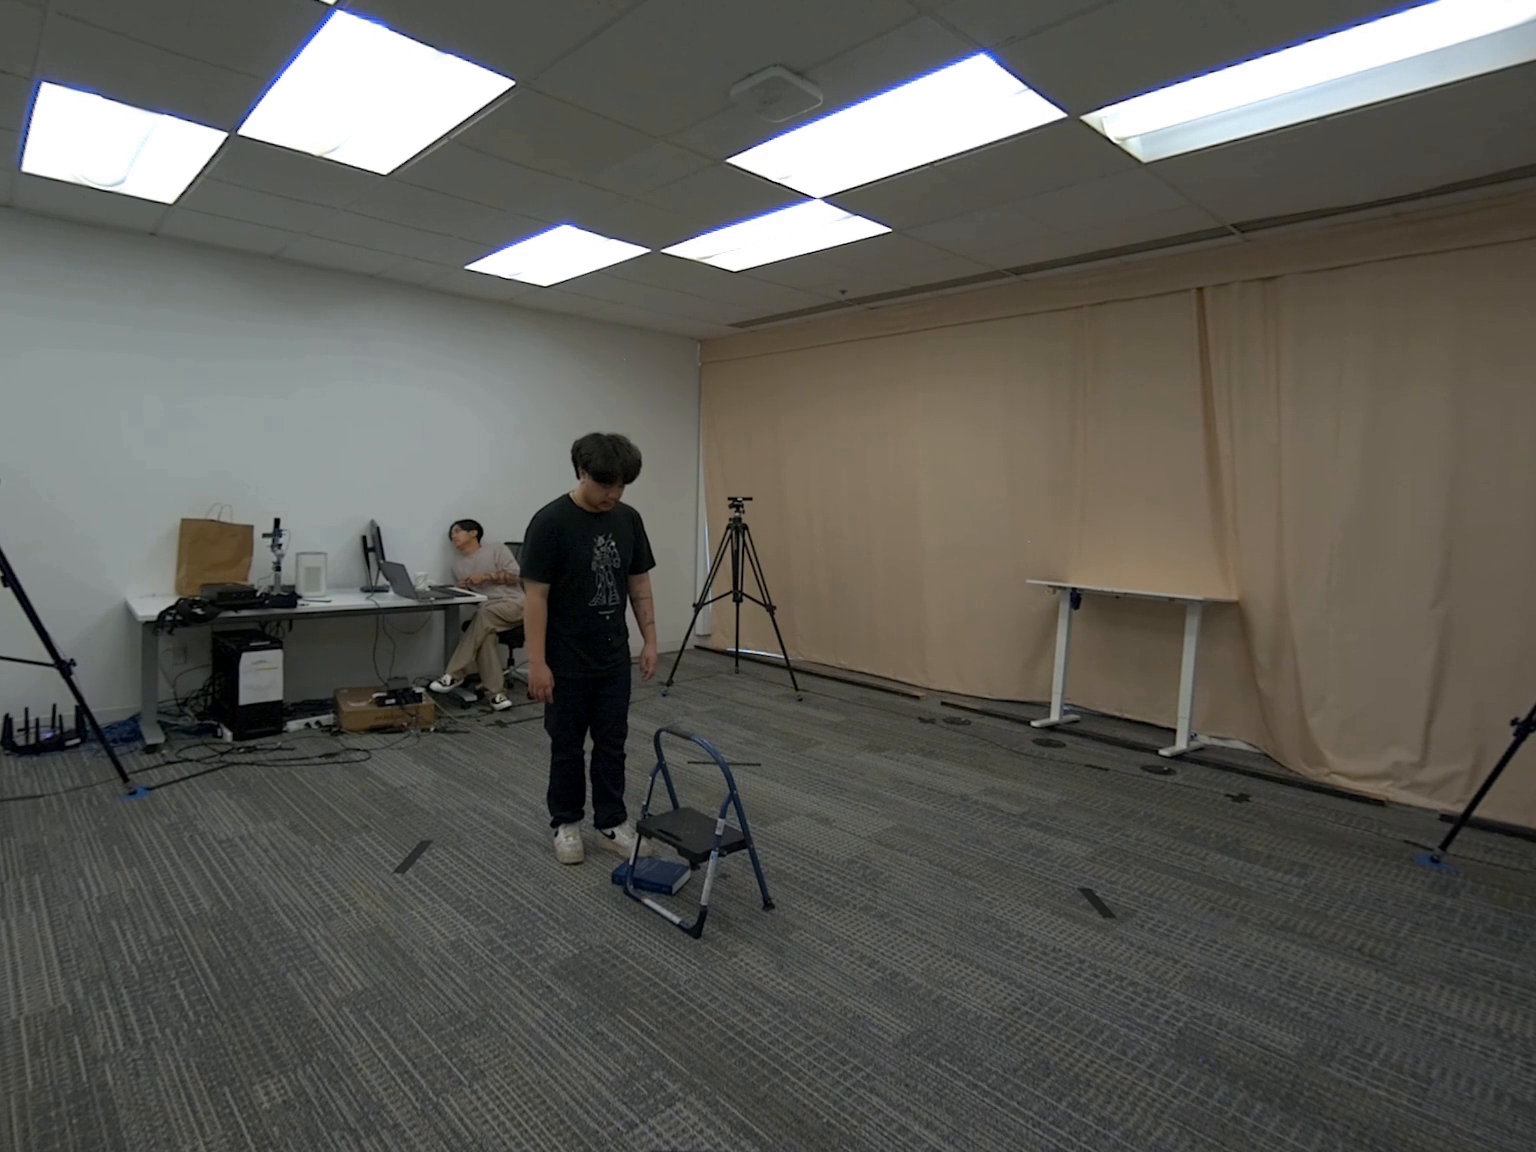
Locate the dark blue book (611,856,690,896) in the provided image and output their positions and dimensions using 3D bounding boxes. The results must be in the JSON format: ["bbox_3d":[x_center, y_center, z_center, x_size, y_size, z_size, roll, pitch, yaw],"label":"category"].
[{"bbox_3d":[-0.433,1.088,3.043,0.249,0.045,0.161,3,5,20],"label":"dark blue book"}]
